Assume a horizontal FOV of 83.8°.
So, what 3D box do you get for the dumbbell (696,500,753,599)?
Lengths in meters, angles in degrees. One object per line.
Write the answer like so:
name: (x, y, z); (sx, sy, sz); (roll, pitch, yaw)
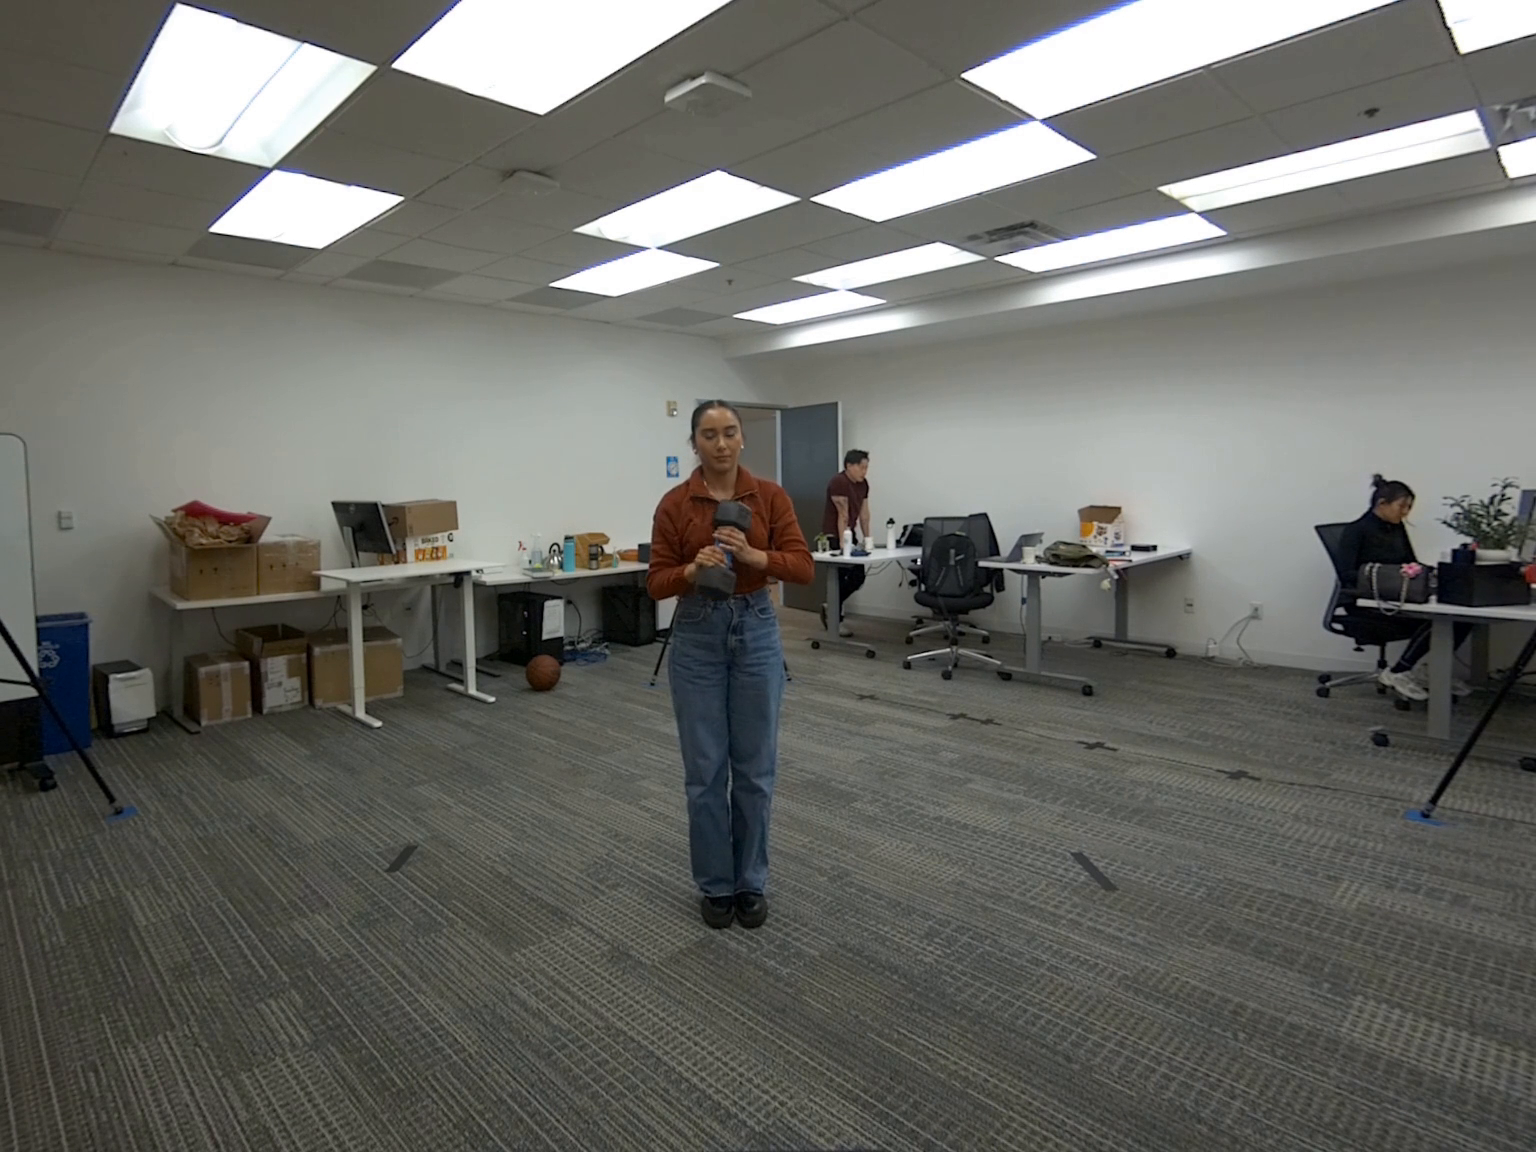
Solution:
dumbbell: (-0.134, -0.072, 2.566); (0.107, 0.297, 0.123); (15, -19, -10)
